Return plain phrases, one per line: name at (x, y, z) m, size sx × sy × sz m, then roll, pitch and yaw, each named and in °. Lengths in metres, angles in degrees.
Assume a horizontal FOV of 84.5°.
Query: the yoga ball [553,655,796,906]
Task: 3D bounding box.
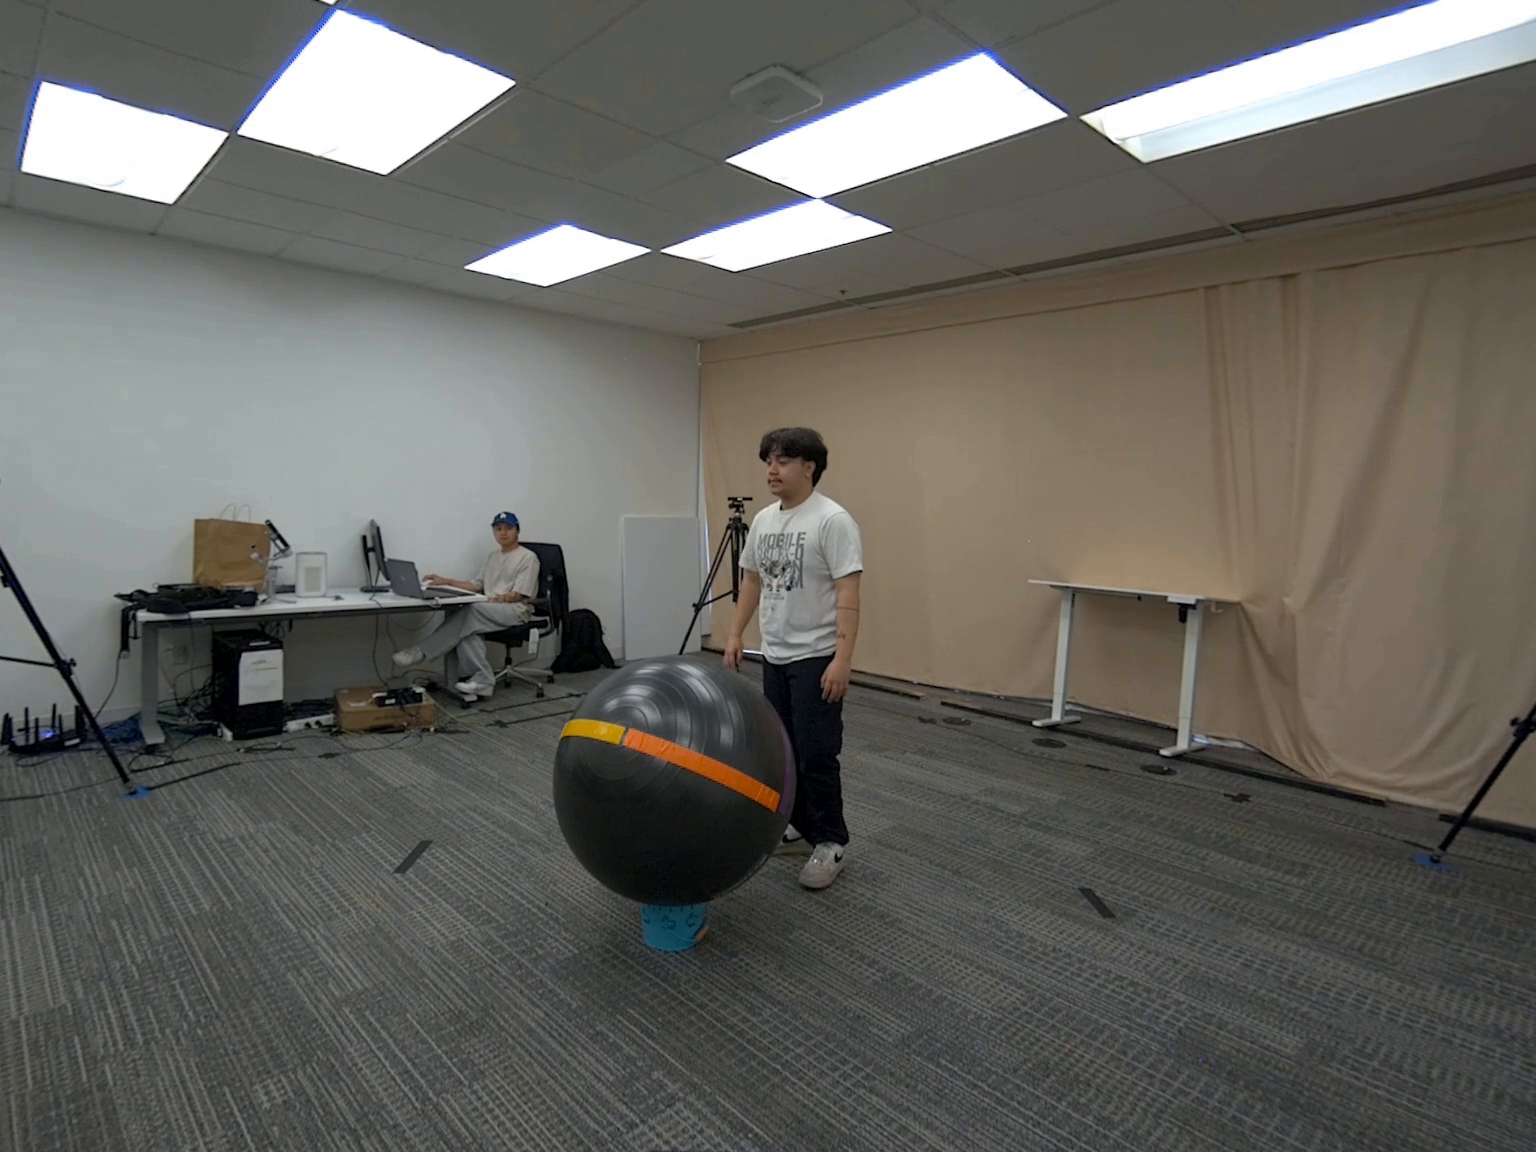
yoga ball at (-0.300, 0.640, 2.651) m, size 0.757 × 0.756 × 0.760 m, roll 1°, pitch 4°, yaw -1°
